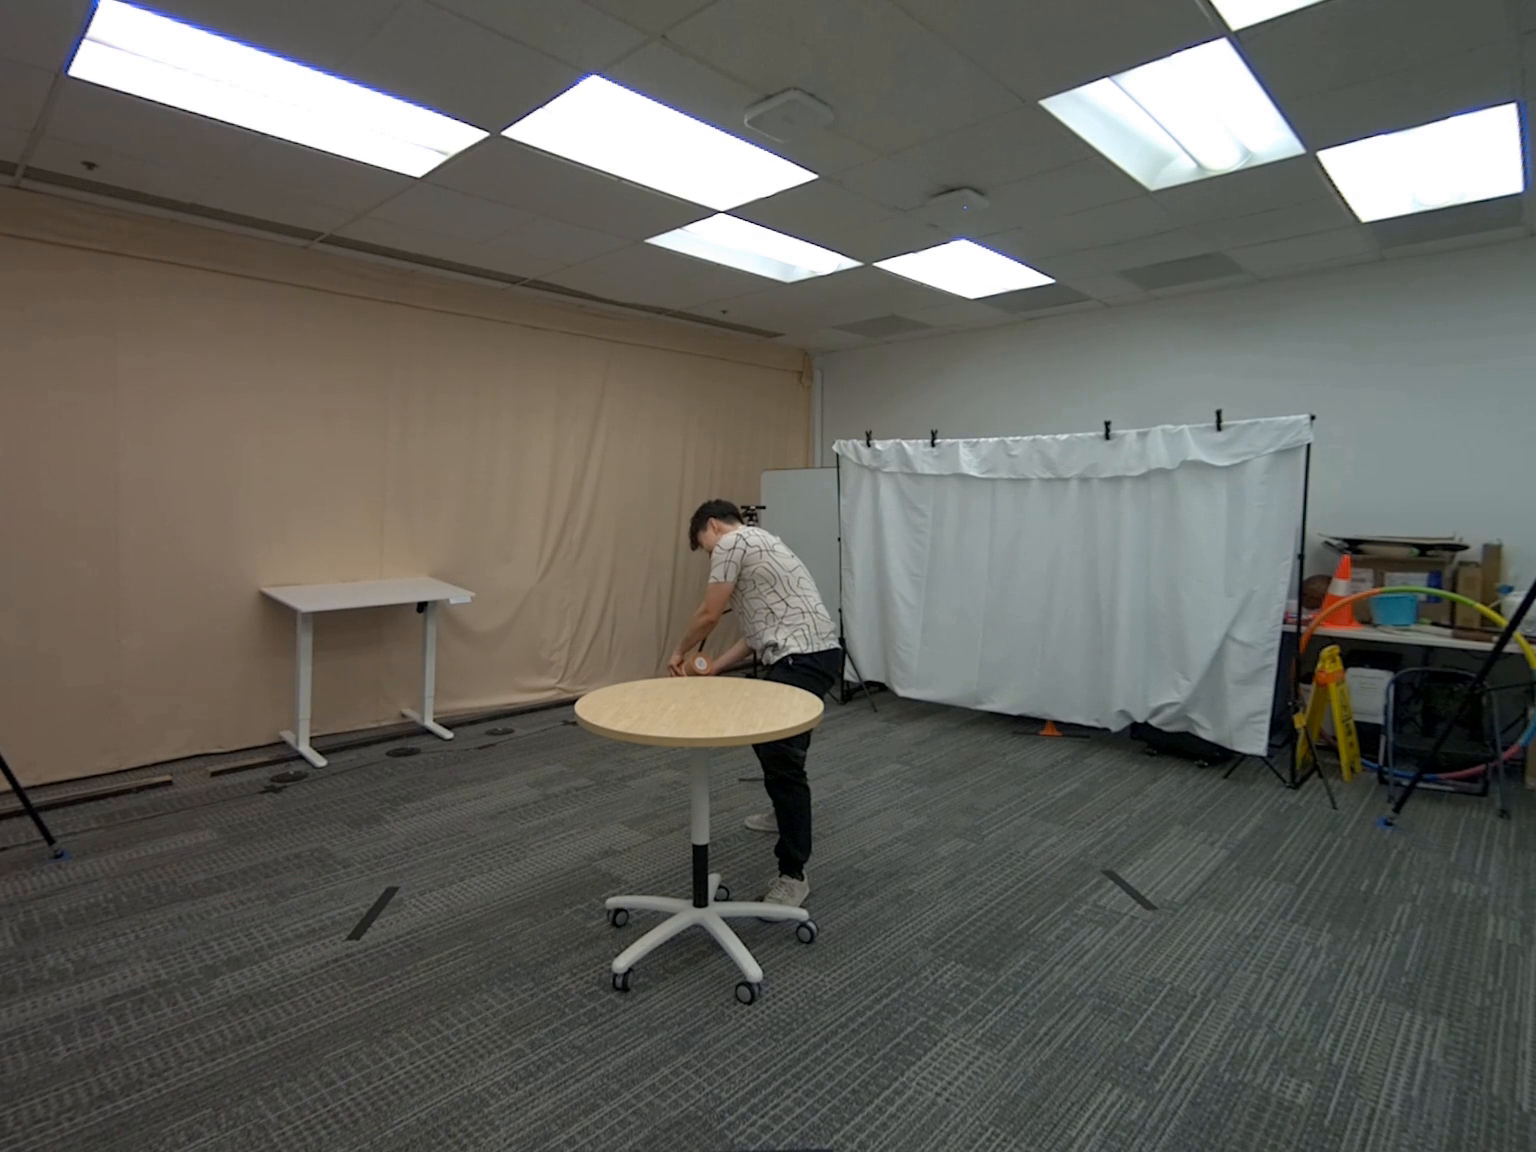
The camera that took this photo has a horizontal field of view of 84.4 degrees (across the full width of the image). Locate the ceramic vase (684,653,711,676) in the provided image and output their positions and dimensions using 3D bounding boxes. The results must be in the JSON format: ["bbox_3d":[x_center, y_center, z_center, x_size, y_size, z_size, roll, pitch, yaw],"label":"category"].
[{"bbox_3d":[-0.315,0.396,3.417,0.130,0.162,0.222,9,-33,-31],"label":"ceramic vase"}]
